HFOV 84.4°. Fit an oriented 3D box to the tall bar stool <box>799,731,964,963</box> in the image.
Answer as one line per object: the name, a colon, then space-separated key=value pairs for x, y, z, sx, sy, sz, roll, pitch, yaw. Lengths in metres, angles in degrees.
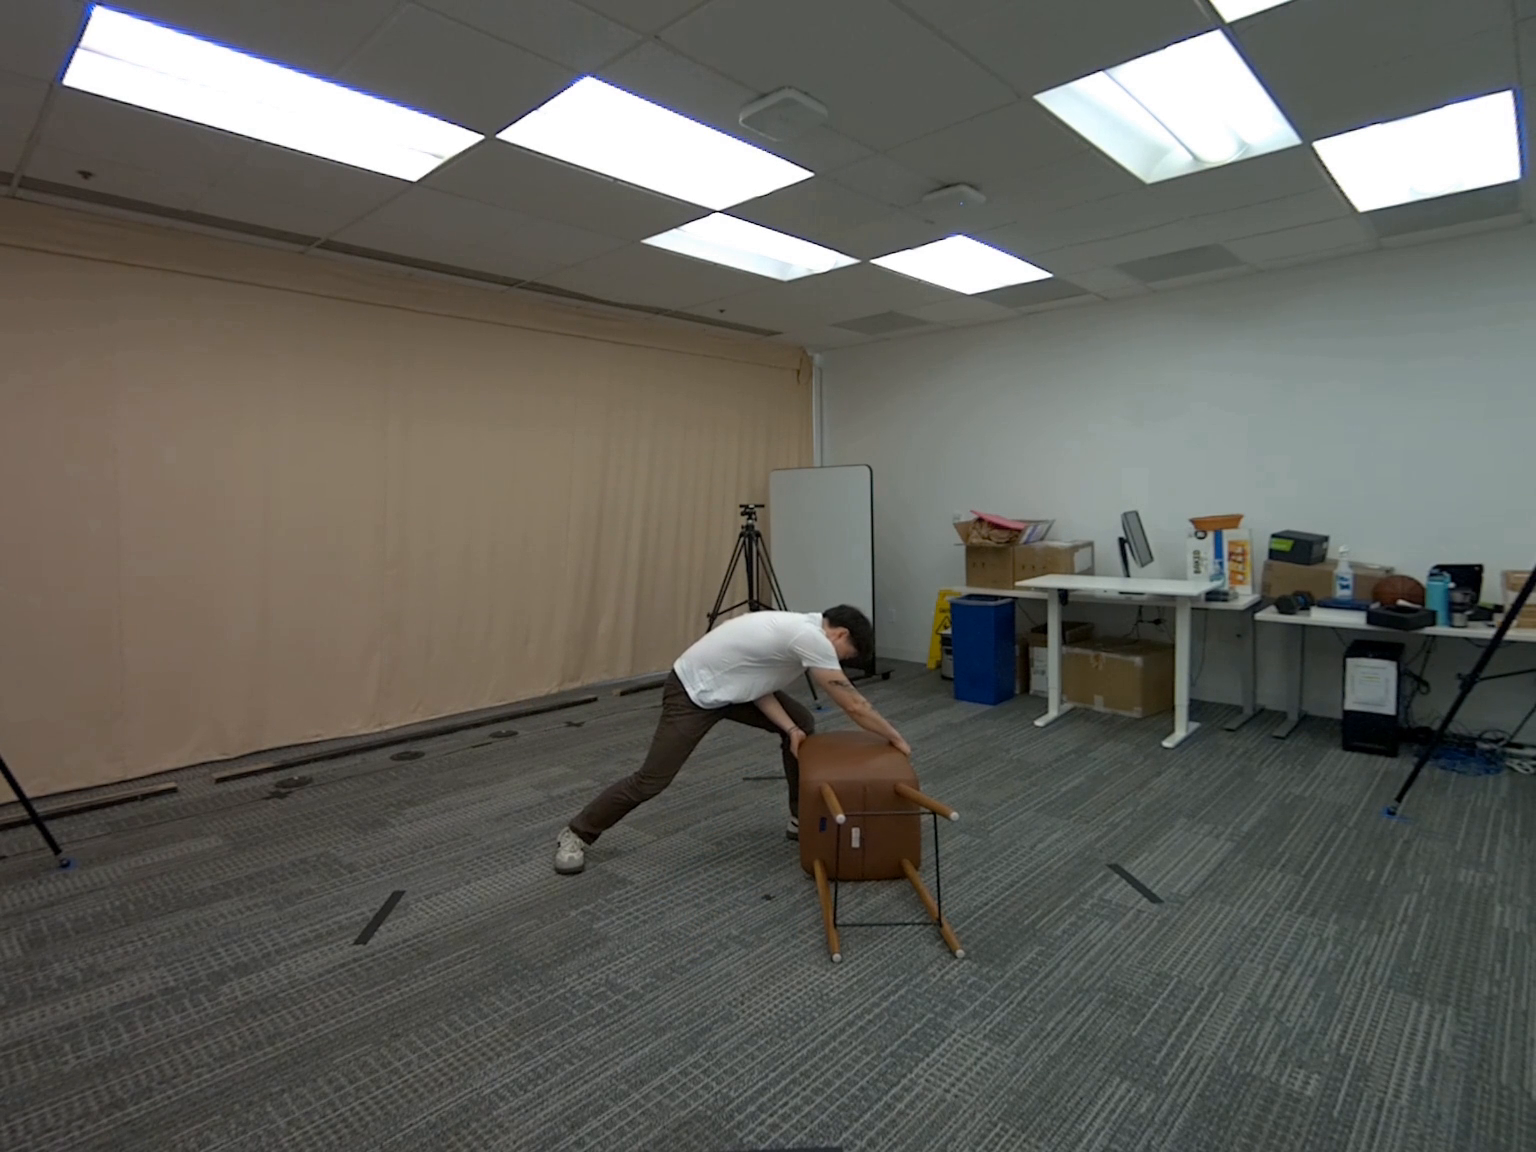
tall bar stool: x=0.361 y=0.907 z=2.979 sx=0.455 sy=0.466 sz=0.896 roll=-1 pitch=5 yaw=-5
